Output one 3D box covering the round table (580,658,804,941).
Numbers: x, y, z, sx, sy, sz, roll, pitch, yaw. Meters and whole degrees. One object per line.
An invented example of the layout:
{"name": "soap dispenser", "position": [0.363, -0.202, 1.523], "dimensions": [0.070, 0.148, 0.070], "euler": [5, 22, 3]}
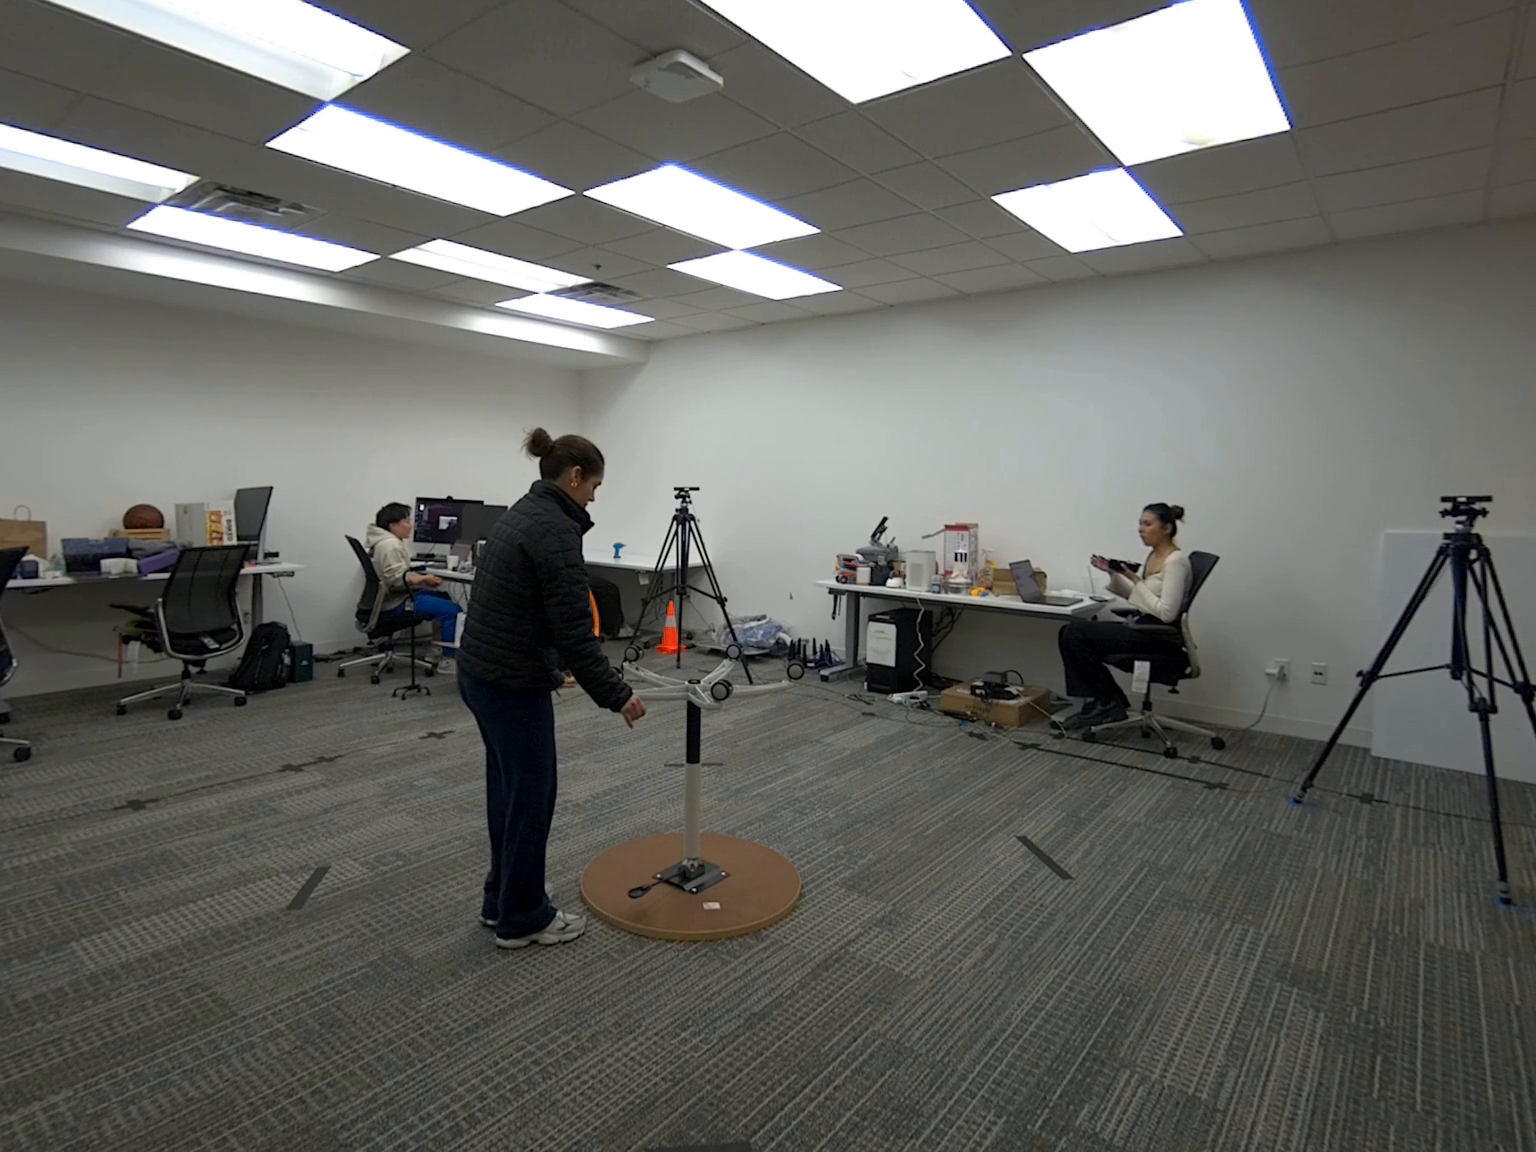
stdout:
{"name": "round table", "position": [-0.260, 0.677, 2.980], "dimensions": [0.784, 0.784, 0.788], "euler": [1, 4, -2]}
